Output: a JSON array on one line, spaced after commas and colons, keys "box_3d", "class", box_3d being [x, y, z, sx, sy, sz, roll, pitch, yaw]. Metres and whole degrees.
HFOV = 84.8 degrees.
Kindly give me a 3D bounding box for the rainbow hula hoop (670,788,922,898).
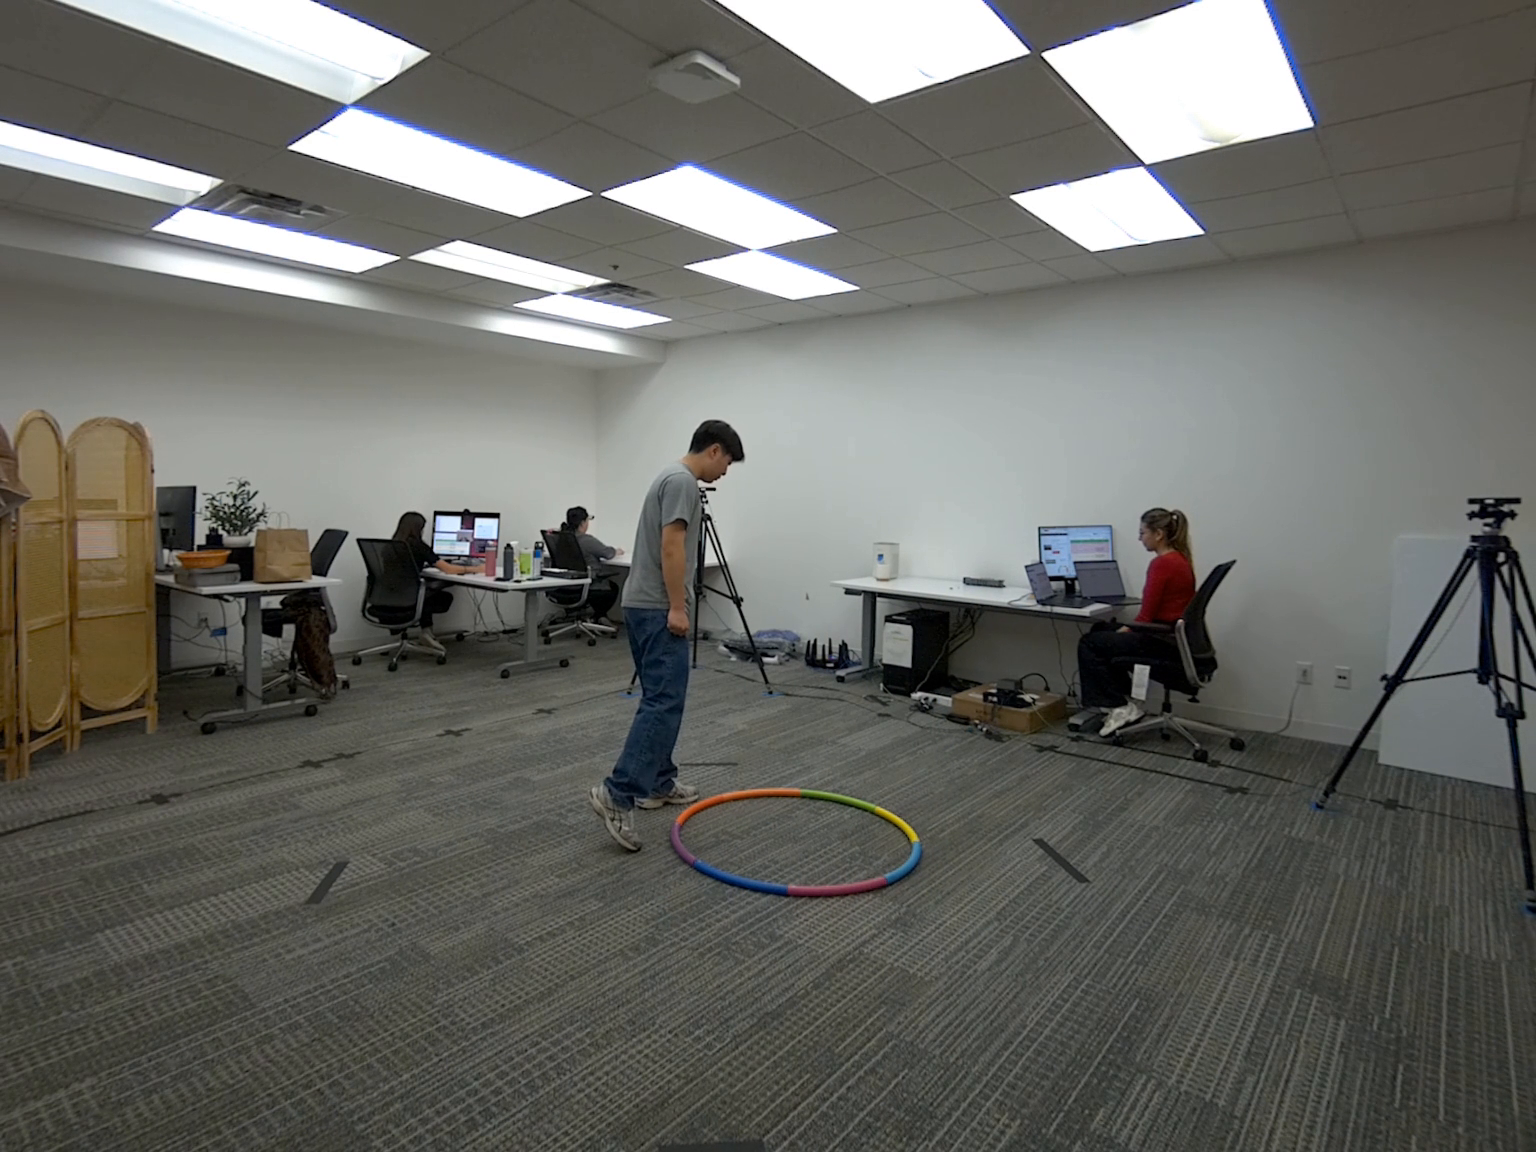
[{"box_3d": [0.097, 1.018, 3.380, 0.978, 0.035, 0.984, 1, 6, -2], "class": "rainbow hula hoop"}]
